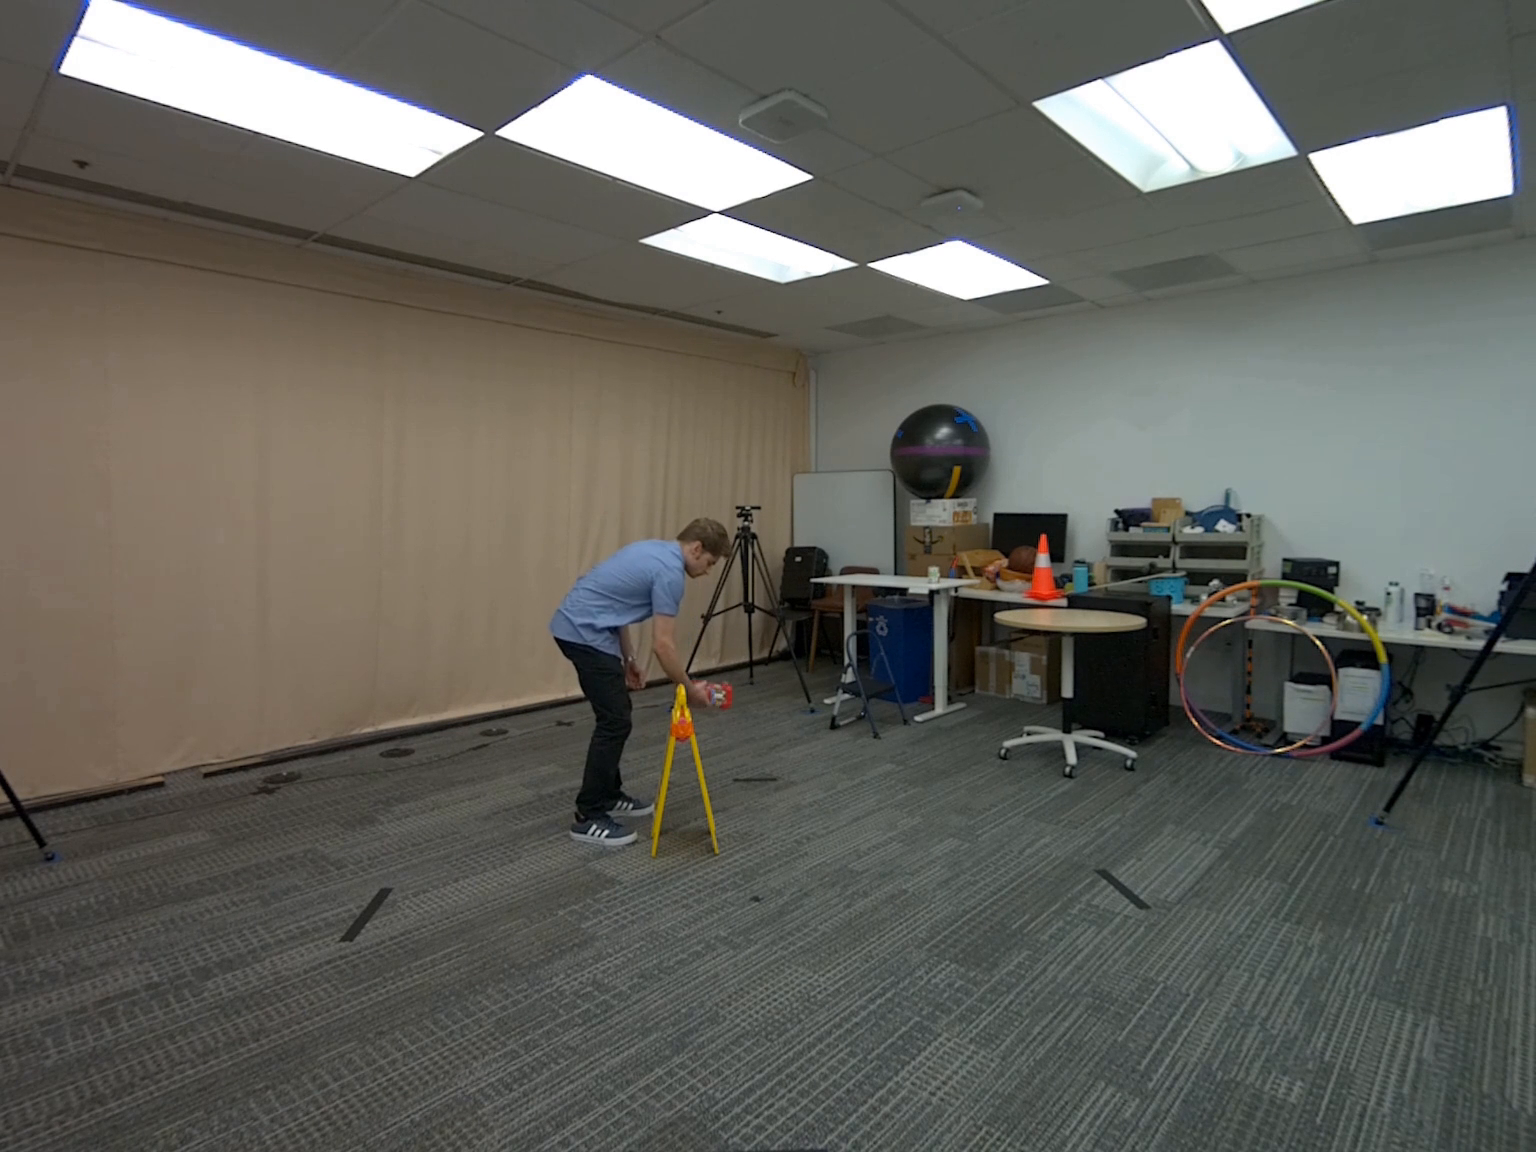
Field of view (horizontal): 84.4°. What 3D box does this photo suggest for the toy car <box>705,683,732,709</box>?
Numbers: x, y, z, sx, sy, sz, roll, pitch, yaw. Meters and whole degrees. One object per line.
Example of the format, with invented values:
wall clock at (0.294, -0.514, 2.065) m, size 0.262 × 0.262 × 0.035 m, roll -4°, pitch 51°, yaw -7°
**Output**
toy car at (-0.310, 0.567, 3.781) m, size 0.255 × 0.130 × 0.083 m, roll 4°, pitch 7°, yaw 1°
